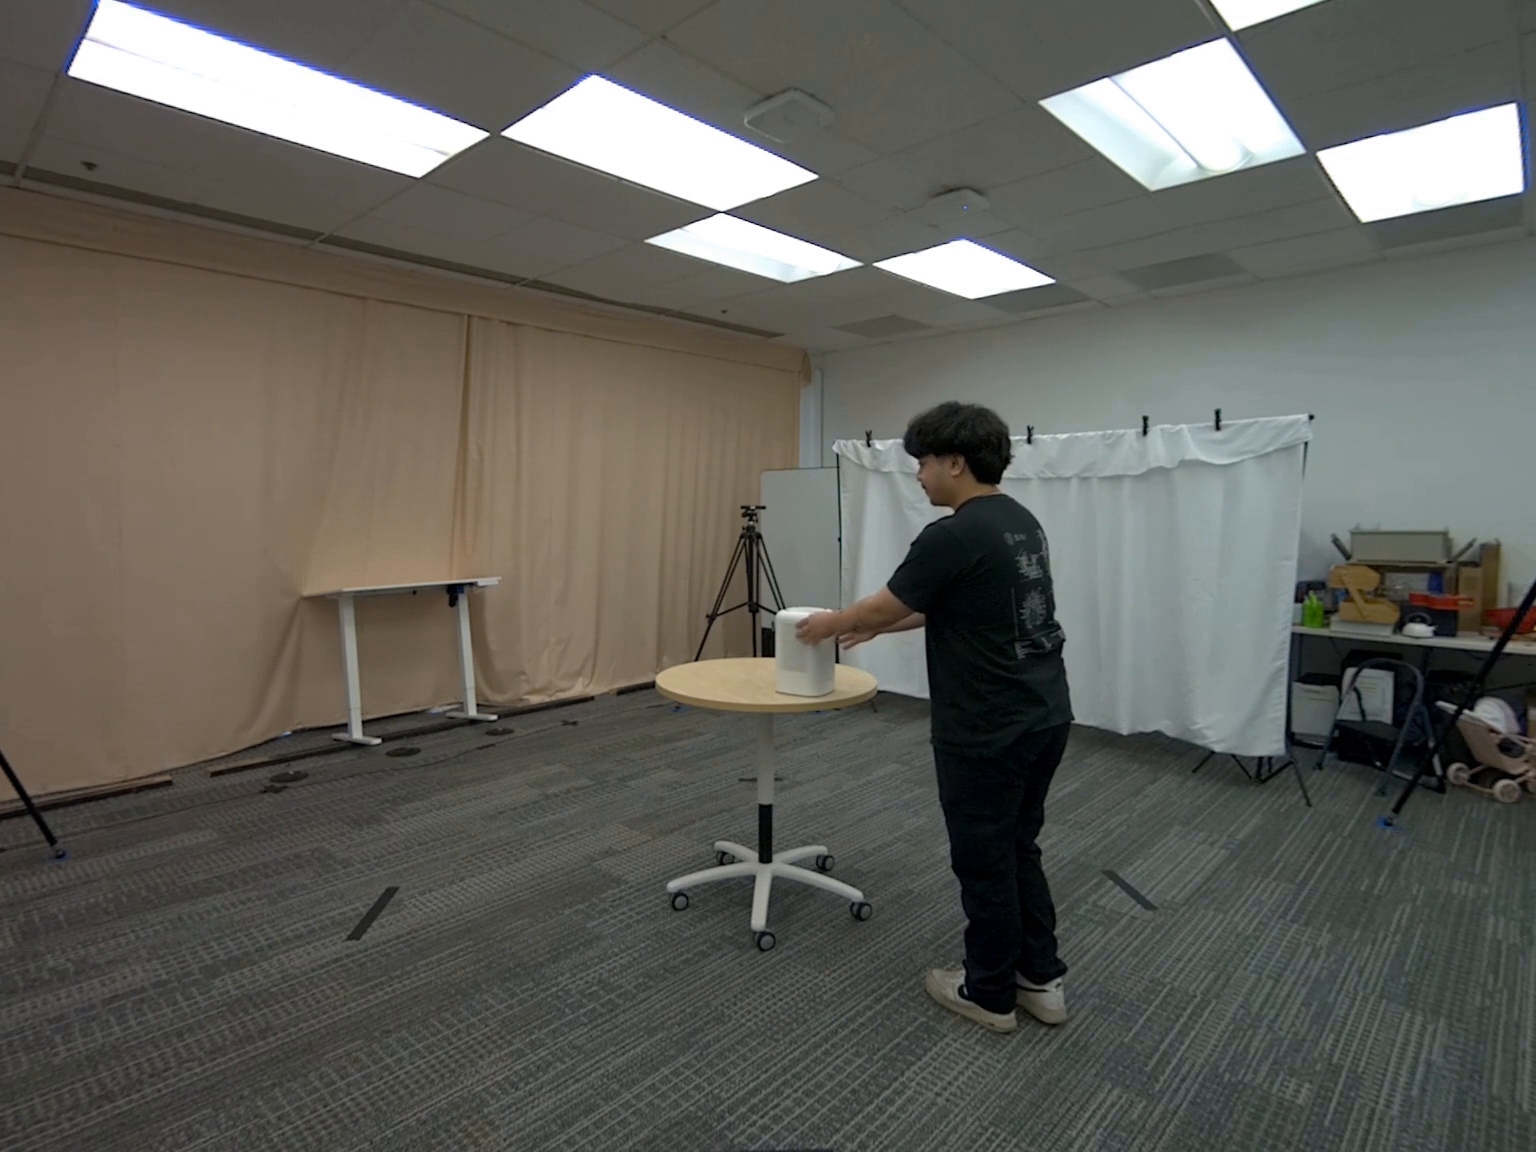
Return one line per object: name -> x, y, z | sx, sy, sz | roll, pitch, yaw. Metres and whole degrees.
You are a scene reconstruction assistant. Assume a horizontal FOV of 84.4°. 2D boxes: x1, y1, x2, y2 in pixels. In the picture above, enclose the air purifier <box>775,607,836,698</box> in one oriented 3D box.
air purifier -> 0.126, 0.241, 2.723 | 0.177, 0.265, 0.166 | 3, 5, 30
